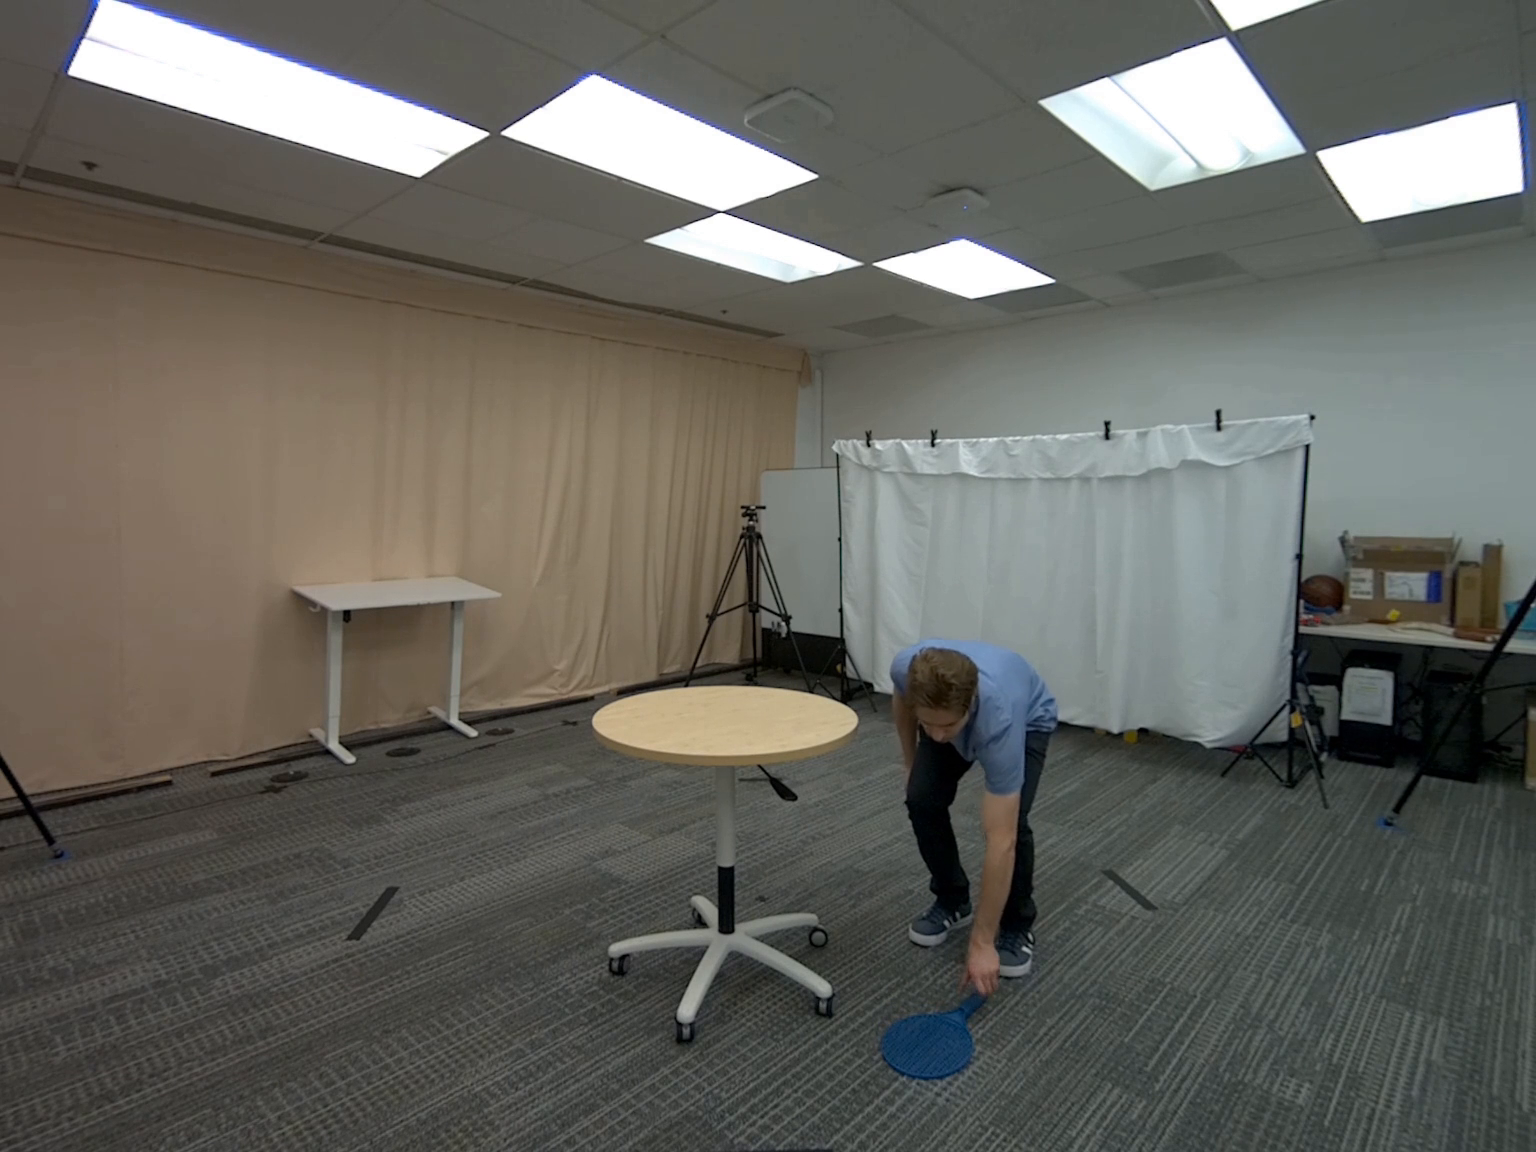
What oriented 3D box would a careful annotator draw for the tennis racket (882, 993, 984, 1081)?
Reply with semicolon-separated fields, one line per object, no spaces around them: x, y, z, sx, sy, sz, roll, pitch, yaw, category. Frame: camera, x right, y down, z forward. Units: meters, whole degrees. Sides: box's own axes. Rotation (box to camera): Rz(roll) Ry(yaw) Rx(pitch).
0.472;1.199;2.212;0.221;0.031;0.420;4;7;42;tennis racket
